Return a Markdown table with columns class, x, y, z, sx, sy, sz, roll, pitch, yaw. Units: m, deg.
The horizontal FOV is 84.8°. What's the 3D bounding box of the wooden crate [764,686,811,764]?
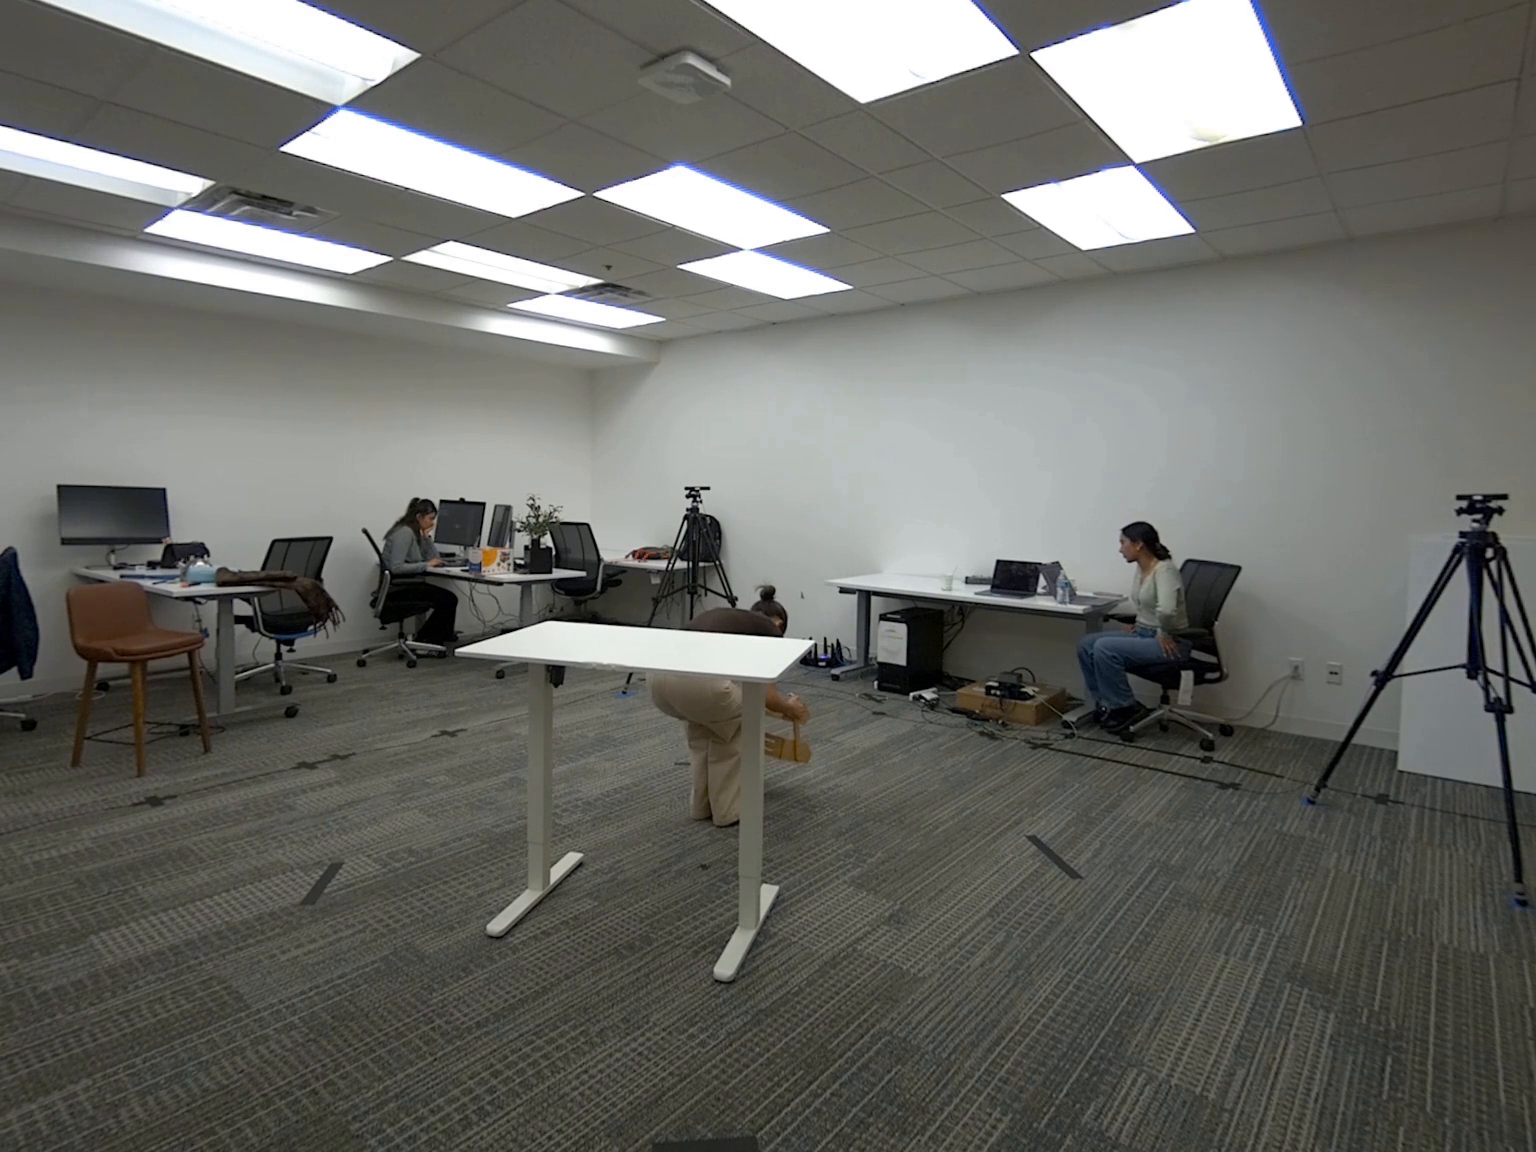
| class | x | y | z | sx | sy | sz | roll | pitch | yaw |
| --- | --- | --- | --- | --- | --- | --- | --- | --- | --- |
| wooden crate | 0.011 | 0.676 | 3.898 | 0.335 | 0.275 | 0.290 | 6 | -11 | 37 |
